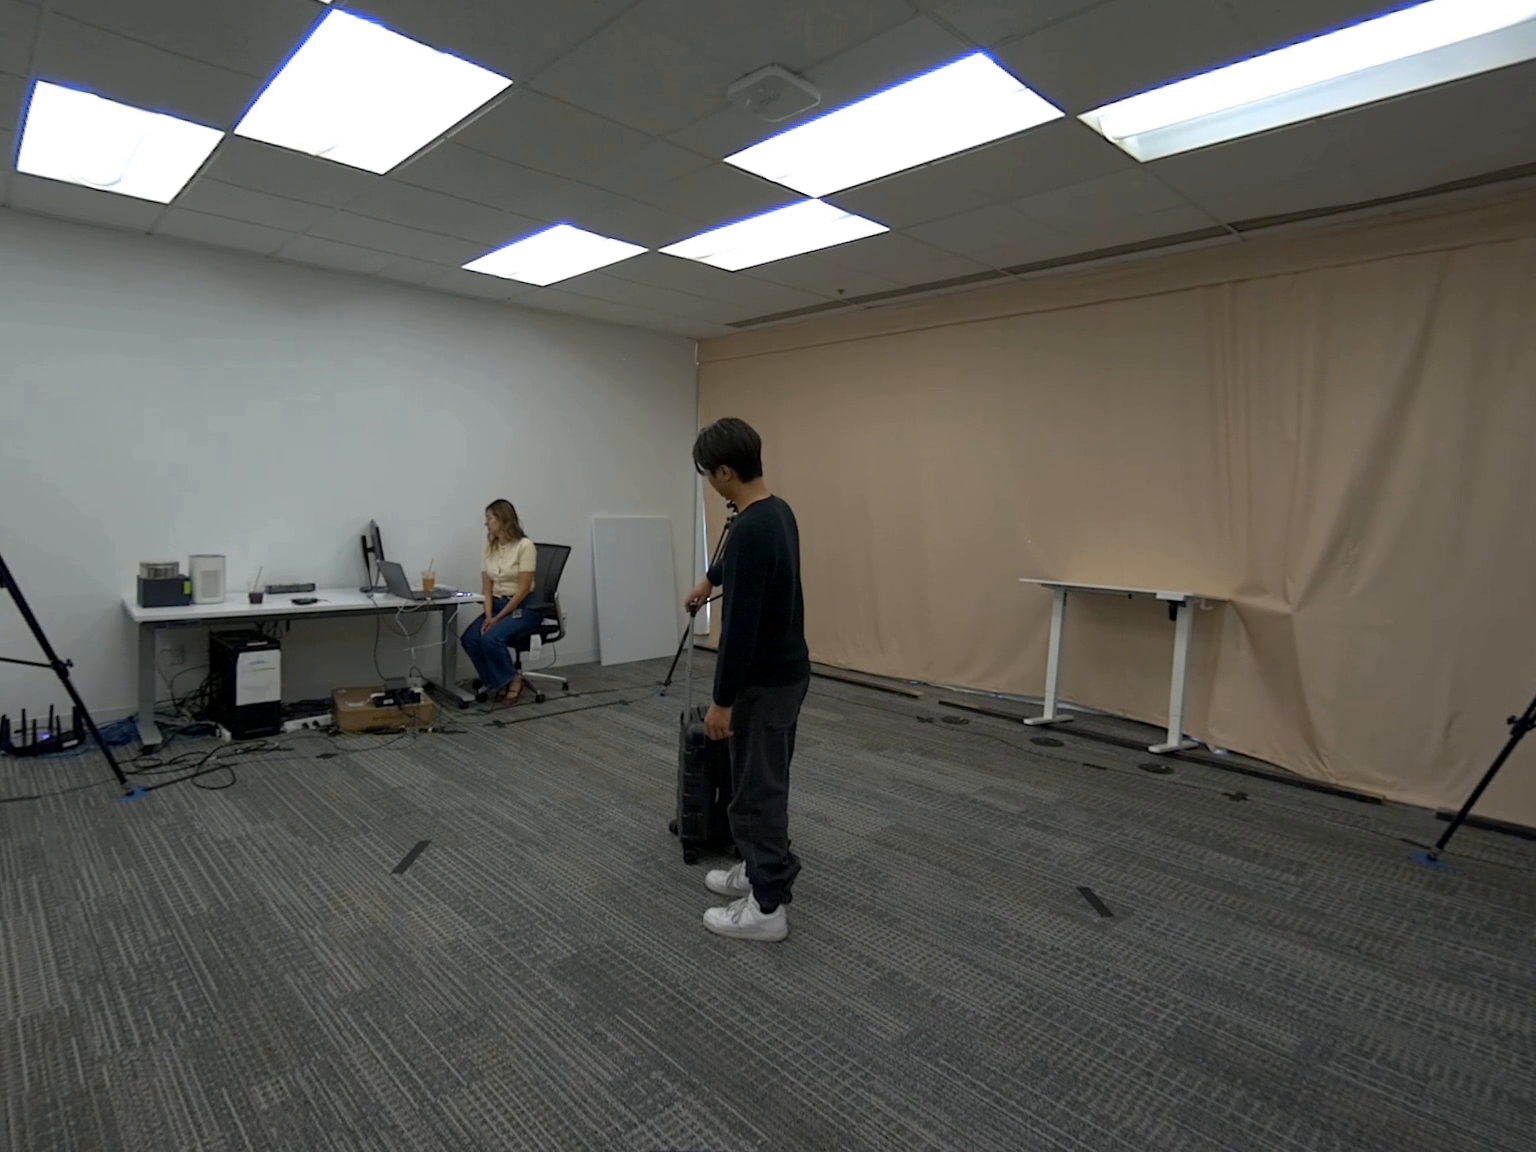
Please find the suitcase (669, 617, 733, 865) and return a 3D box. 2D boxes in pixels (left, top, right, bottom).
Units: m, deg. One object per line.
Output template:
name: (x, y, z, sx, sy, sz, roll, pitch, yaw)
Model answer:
suitcase: (-0.224, 0.606, 3.350, 0.255, 0.976, 0.387, 3, 3, -8)
